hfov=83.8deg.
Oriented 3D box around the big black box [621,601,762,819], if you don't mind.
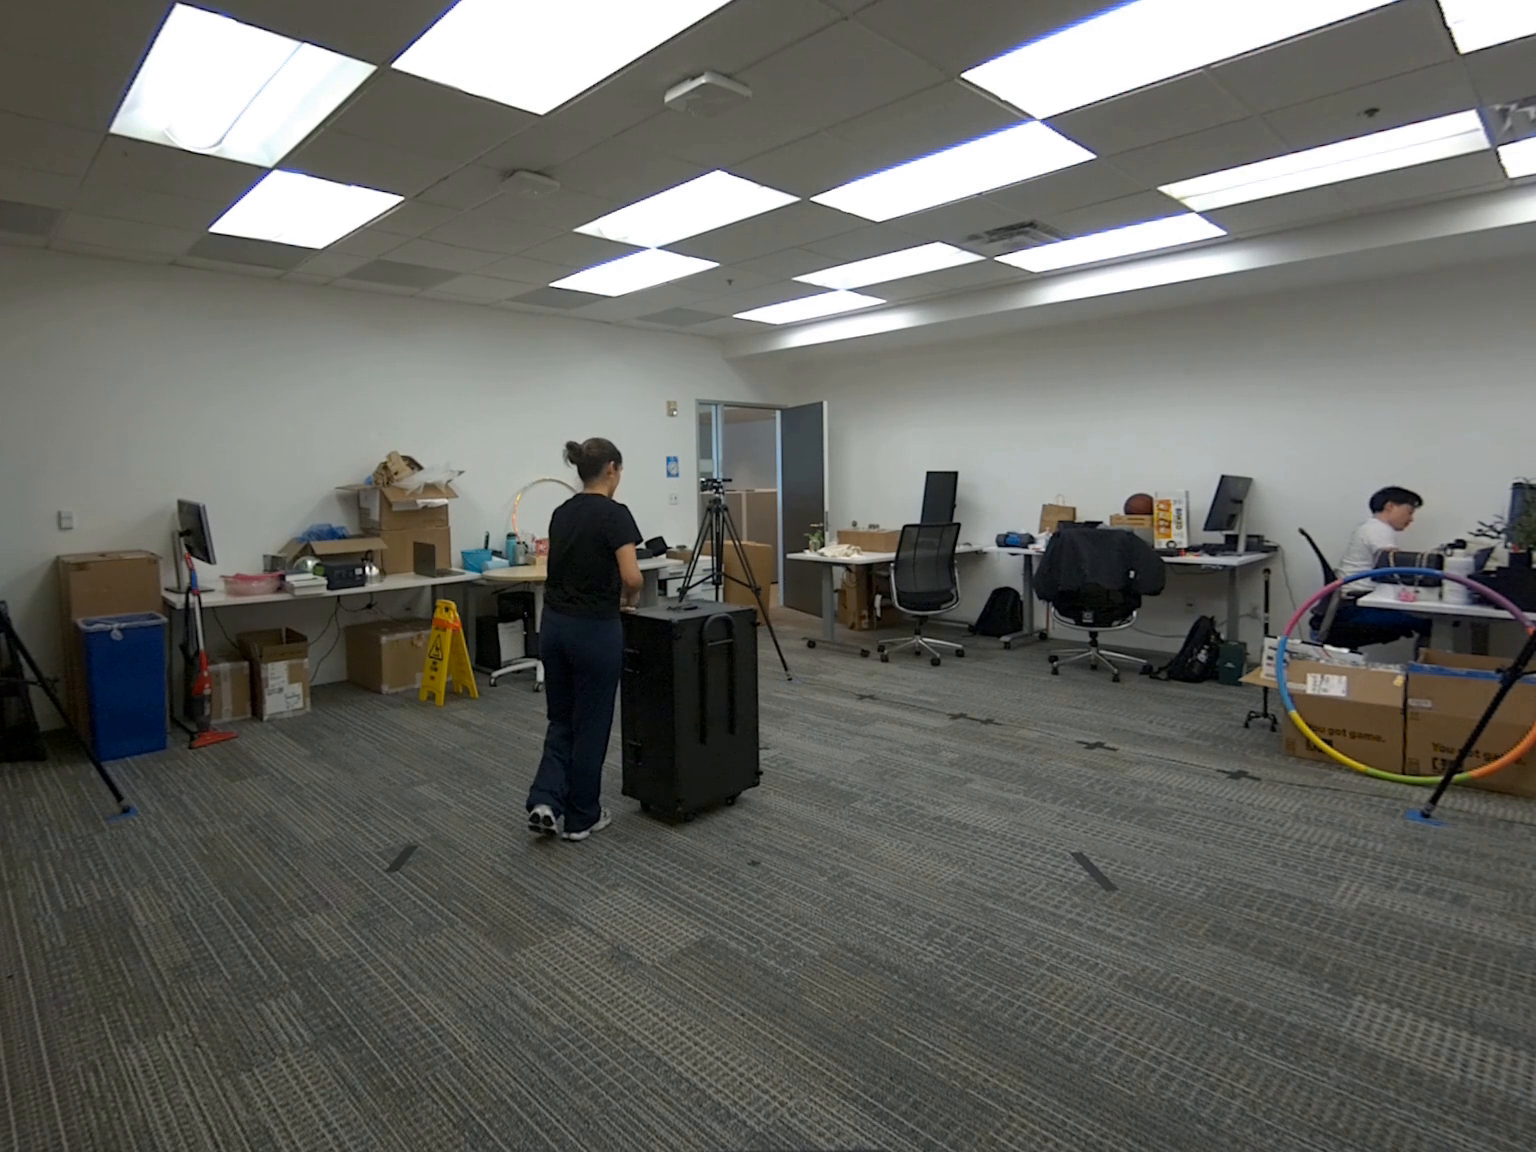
[{"bbox_3d":[-0.323,0.564,3.653,0.408,0.858,0.507,4,6,44],"label":"big black box"}]
